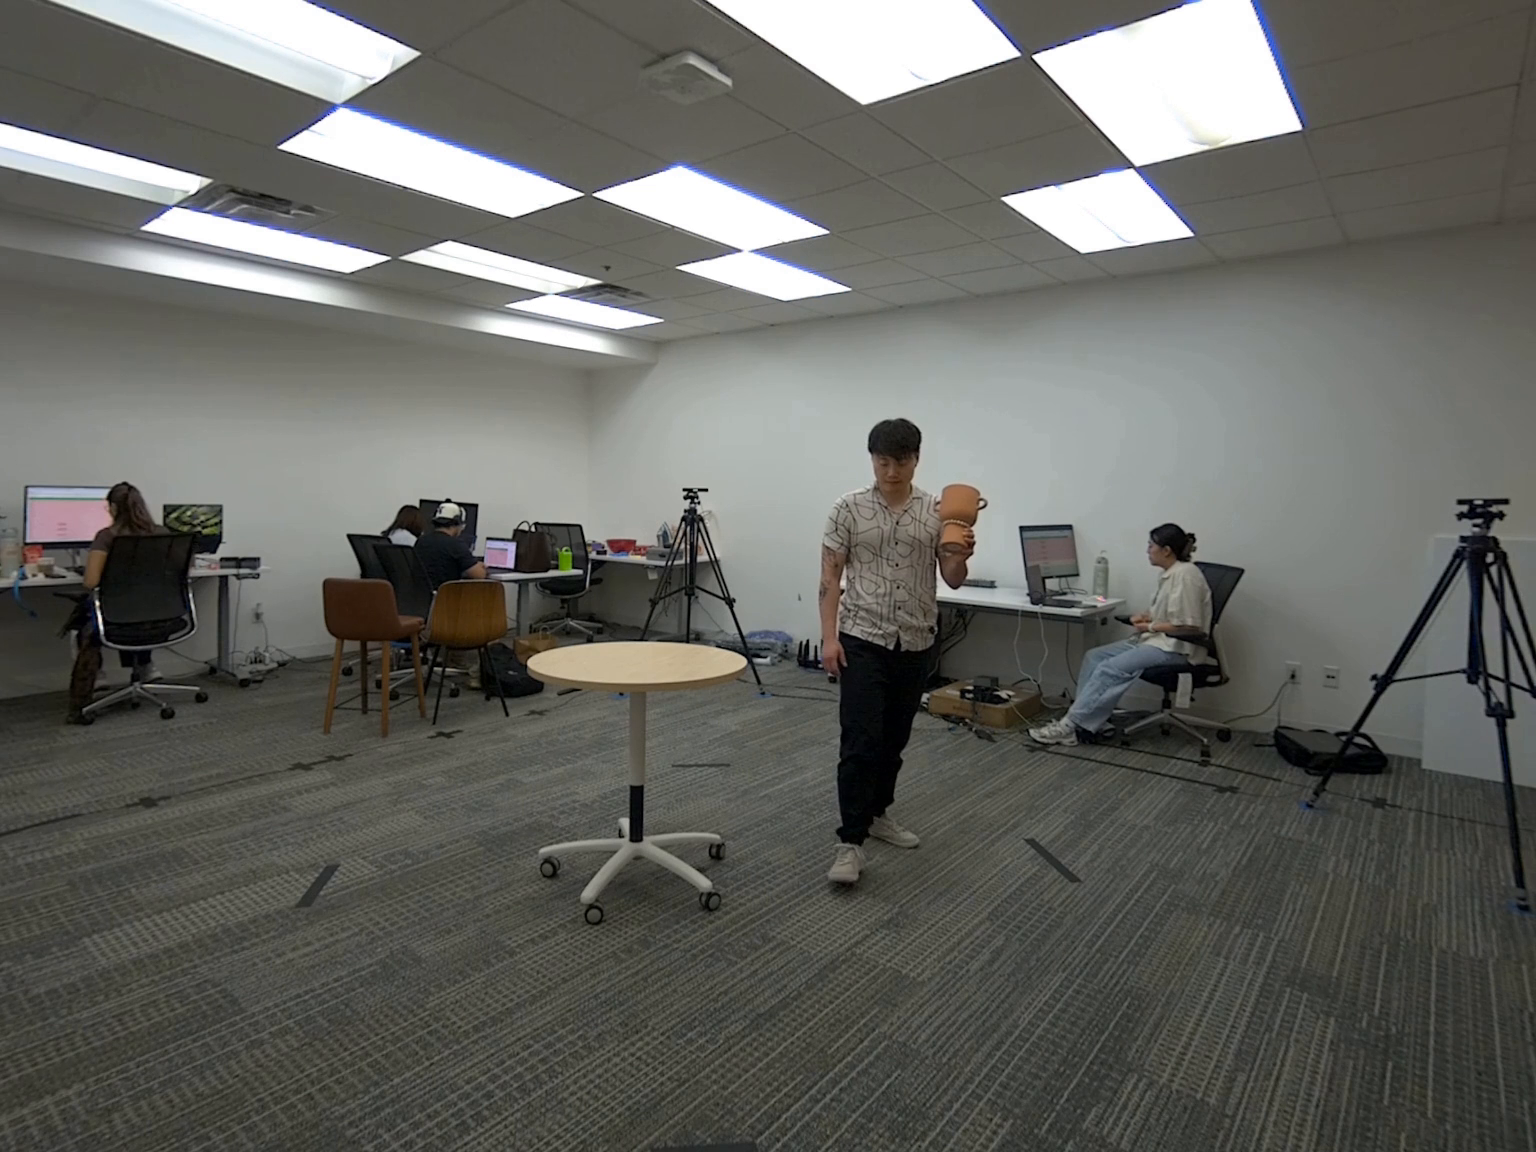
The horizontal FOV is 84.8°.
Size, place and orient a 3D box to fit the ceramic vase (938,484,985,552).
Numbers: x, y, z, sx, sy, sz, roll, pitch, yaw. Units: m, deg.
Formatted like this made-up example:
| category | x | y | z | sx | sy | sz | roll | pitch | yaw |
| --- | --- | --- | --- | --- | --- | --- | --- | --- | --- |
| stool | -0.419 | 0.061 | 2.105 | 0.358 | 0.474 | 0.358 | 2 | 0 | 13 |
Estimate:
| category | x | y | z | sx | sy | sz | roll | pitch | yaw |
| --- | --- | --- | --- | --- | --- | --- | --- | --- | --- |
| ceramic vase | 0.663 | -0.202 | 2.995 | 0.133 | 0.222 | 0.158 | 19 | -21 | -10 |
